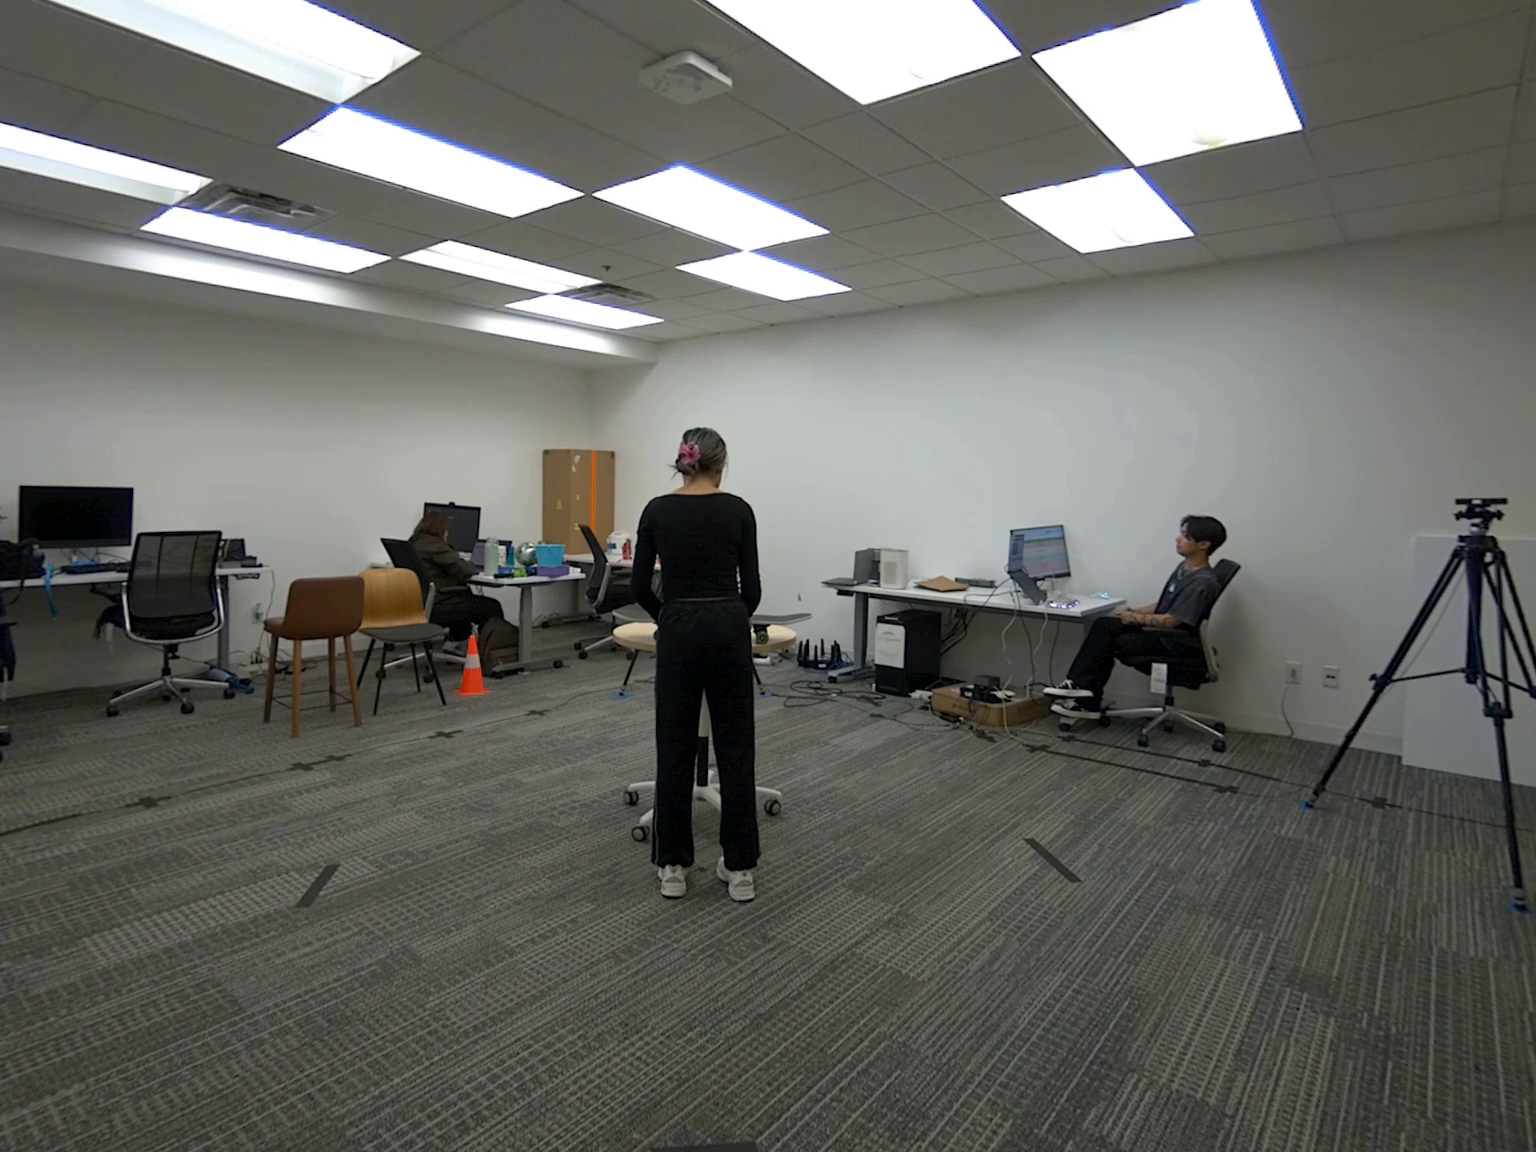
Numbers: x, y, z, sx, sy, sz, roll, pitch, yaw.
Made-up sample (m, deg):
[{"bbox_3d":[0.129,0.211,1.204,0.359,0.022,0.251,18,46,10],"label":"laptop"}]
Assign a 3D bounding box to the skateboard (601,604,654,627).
[{"bbox_3d":[-0.254,0.194,3.348,0.787,0.110,0.193,2,4,2],"label":"skateboard"}]
